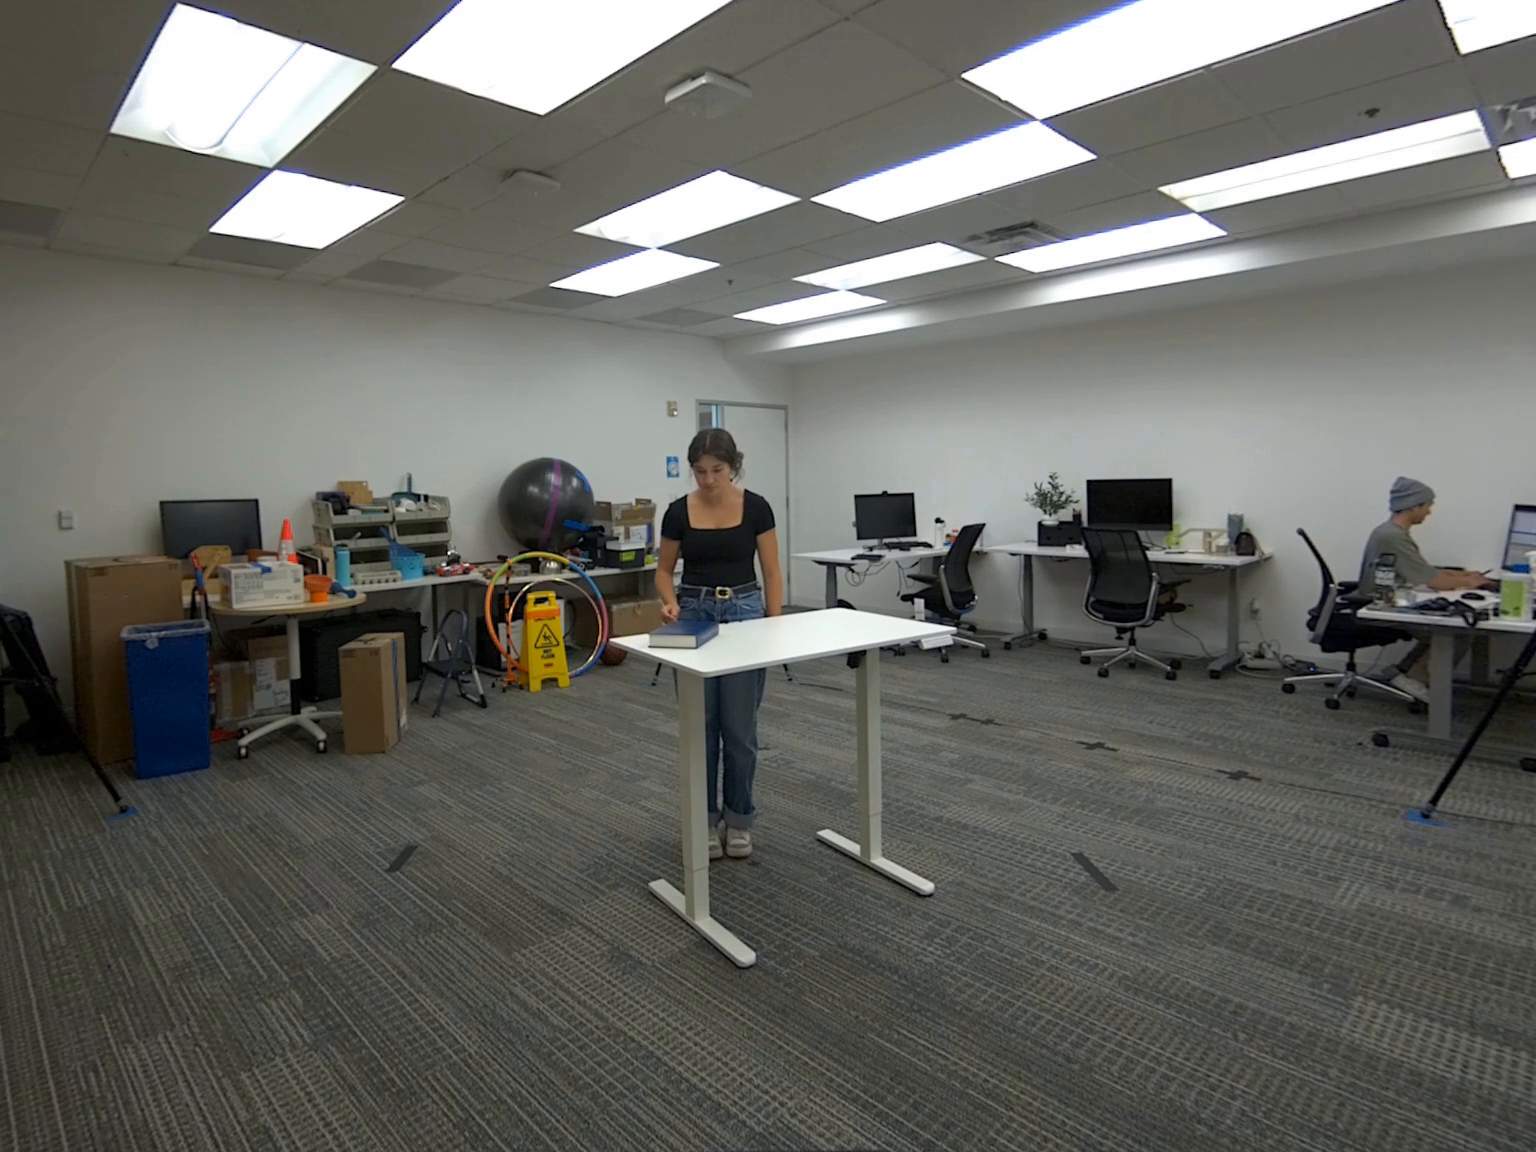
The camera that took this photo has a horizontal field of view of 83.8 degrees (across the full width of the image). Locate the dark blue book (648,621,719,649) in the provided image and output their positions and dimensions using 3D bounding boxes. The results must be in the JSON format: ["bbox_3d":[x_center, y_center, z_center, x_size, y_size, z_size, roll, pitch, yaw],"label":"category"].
[{"bbox_3d":[-0.262,0.192,2.750,0.166,0.045,0.243,-1,7,15],"label":"dark blue book"}]
